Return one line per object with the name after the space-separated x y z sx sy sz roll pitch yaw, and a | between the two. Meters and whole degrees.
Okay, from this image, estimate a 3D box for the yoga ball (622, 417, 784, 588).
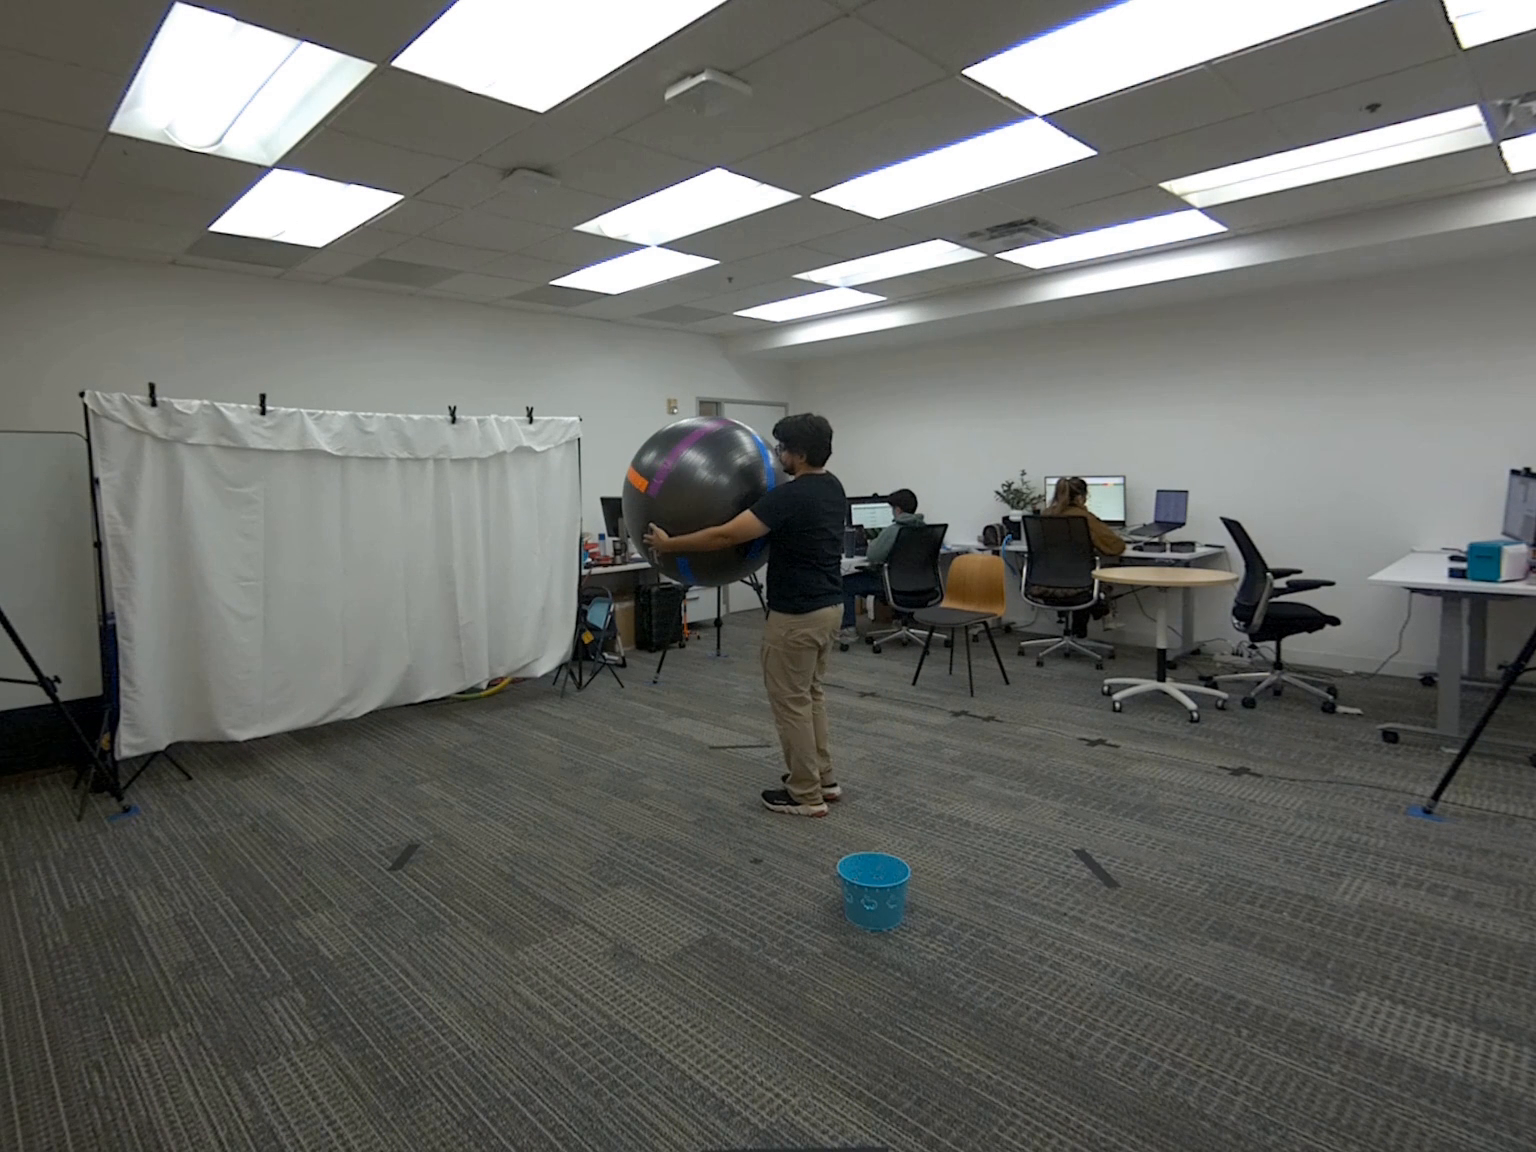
-0.280 -0.323 3.809 0.757 0.755 0.762 -1 5 -2 | yoga ball
